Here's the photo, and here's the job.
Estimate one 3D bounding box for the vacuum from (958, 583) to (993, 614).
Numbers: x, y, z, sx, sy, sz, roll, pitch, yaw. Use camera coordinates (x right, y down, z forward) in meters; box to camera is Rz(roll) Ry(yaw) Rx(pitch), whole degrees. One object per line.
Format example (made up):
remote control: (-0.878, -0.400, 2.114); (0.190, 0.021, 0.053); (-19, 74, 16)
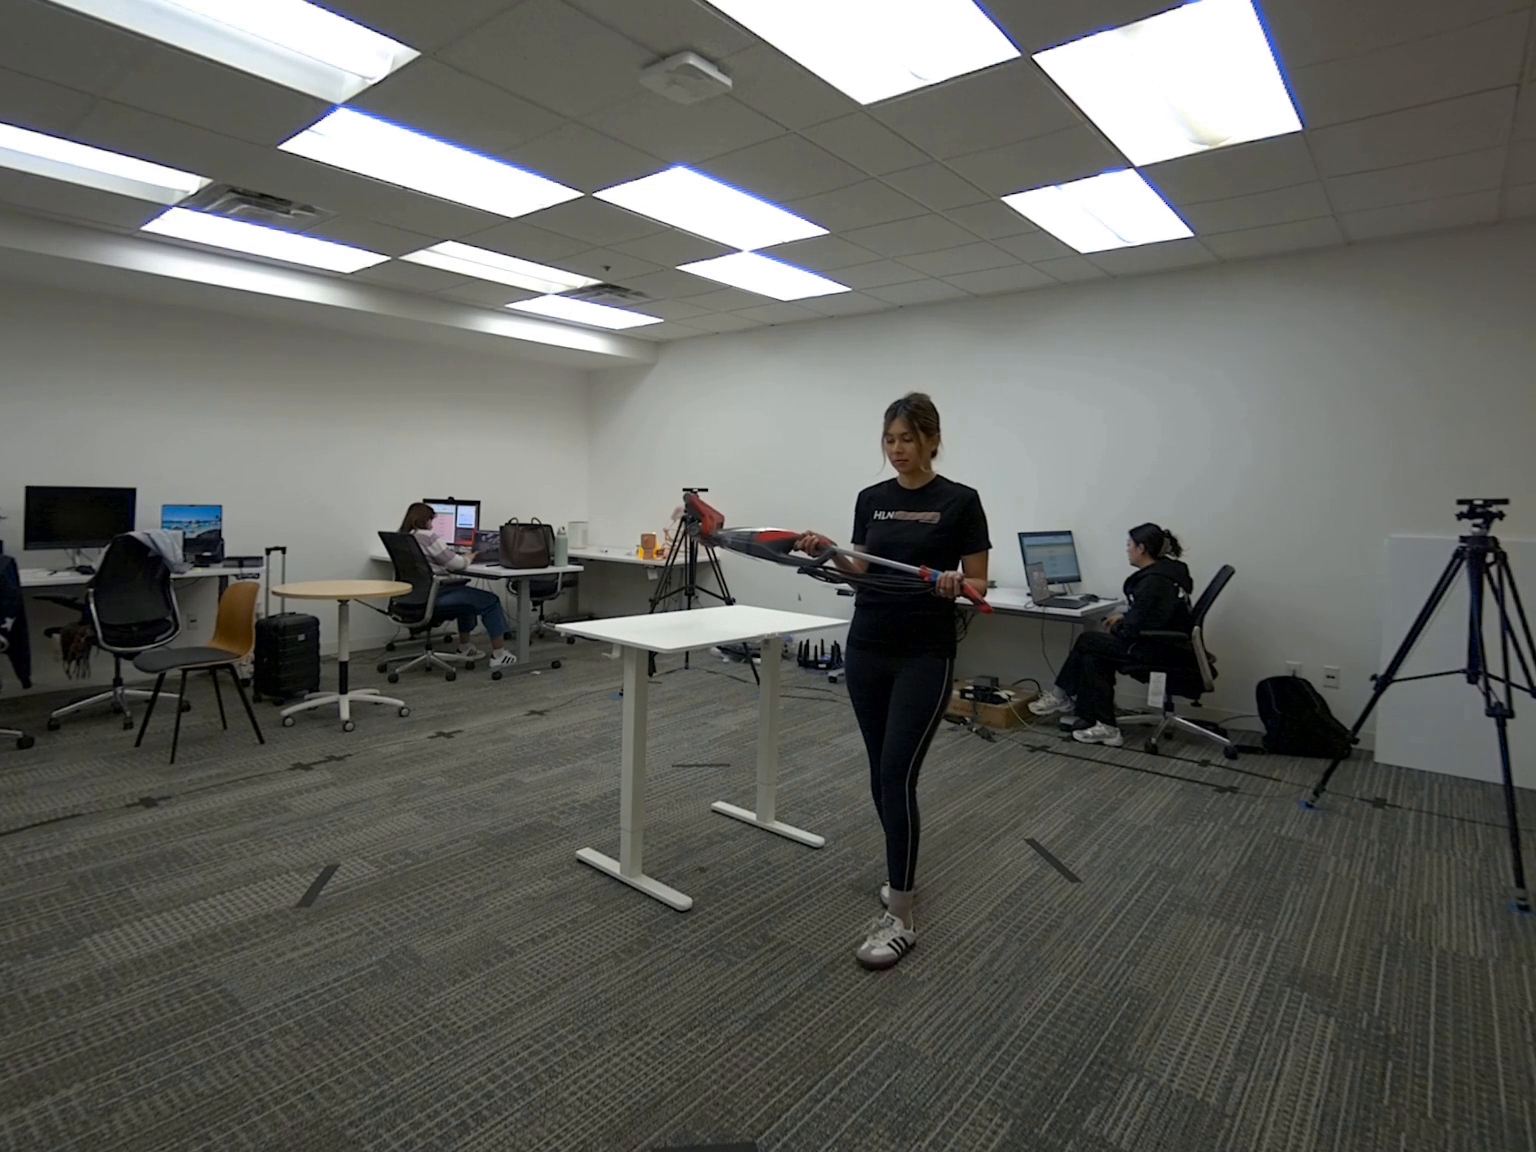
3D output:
vacuum: (0.174, -0.049, 2.668); (1.088, 0.144, 0.243); (19, -6, 33)
